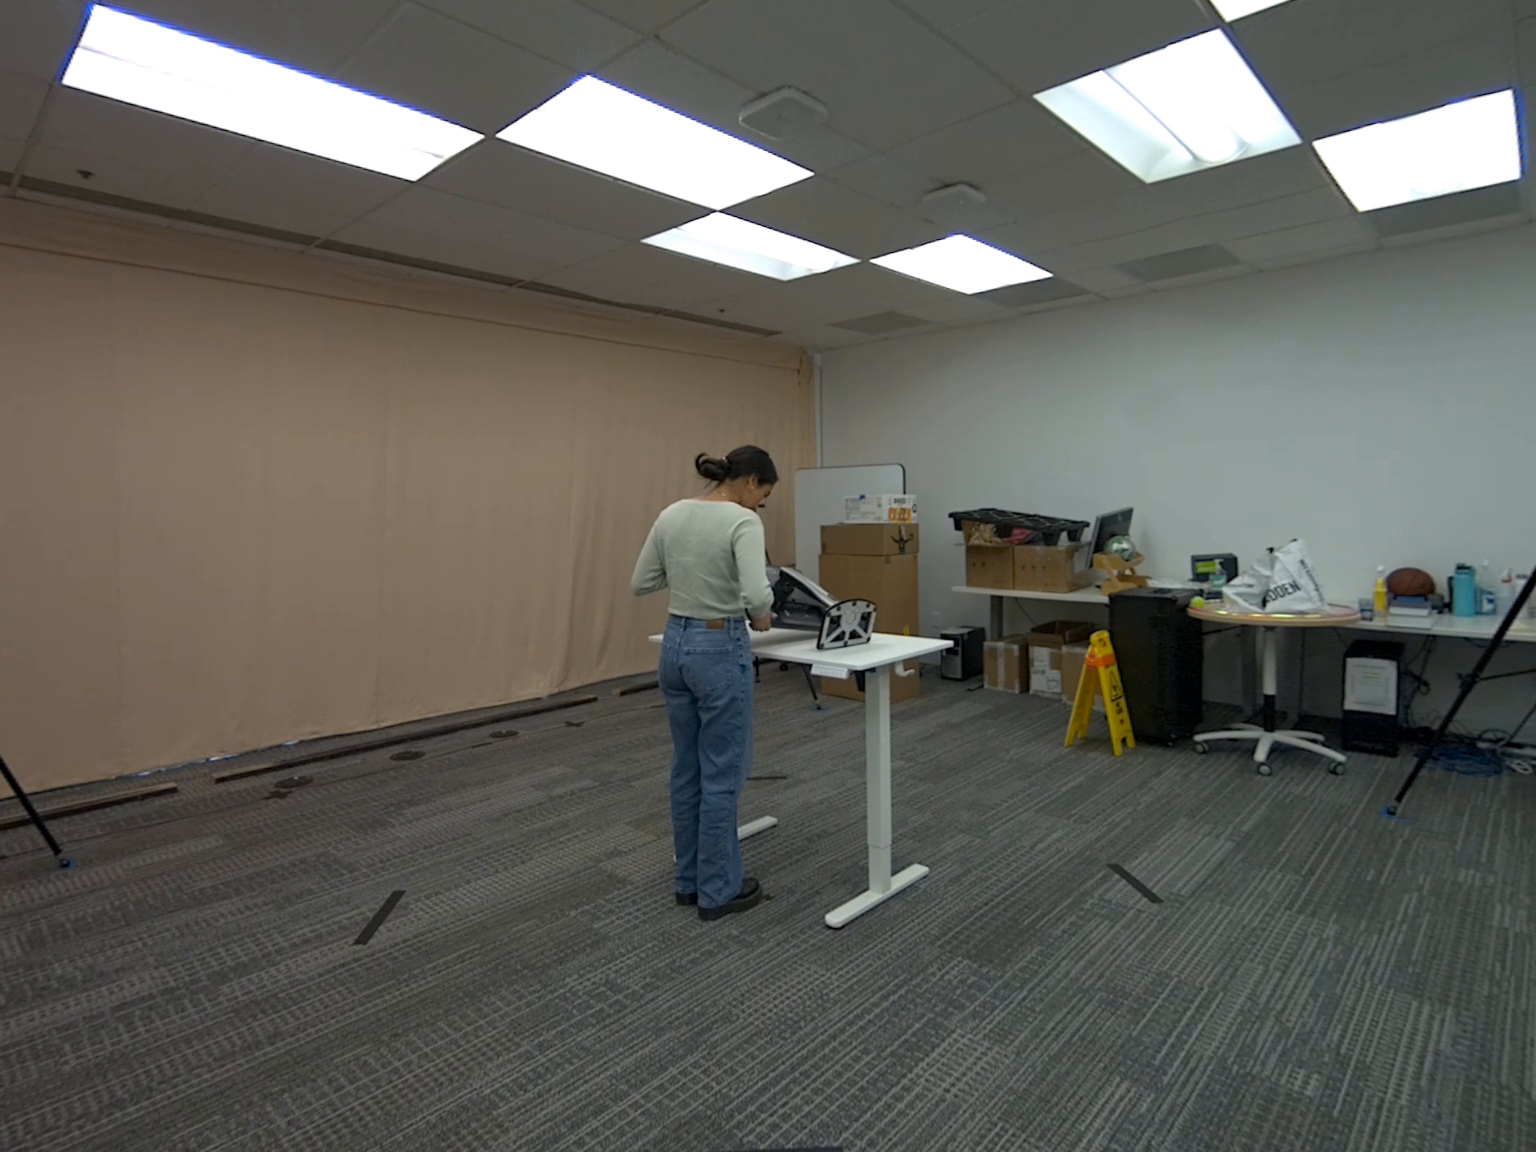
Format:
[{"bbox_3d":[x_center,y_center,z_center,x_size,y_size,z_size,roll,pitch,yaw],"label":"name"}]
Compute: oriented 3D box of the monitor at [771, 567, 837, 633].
[{"bbox_3d":[0.168,0.076,3.131,0.542,0.187,0.520,29,11,41],"label":"monitor"}]
